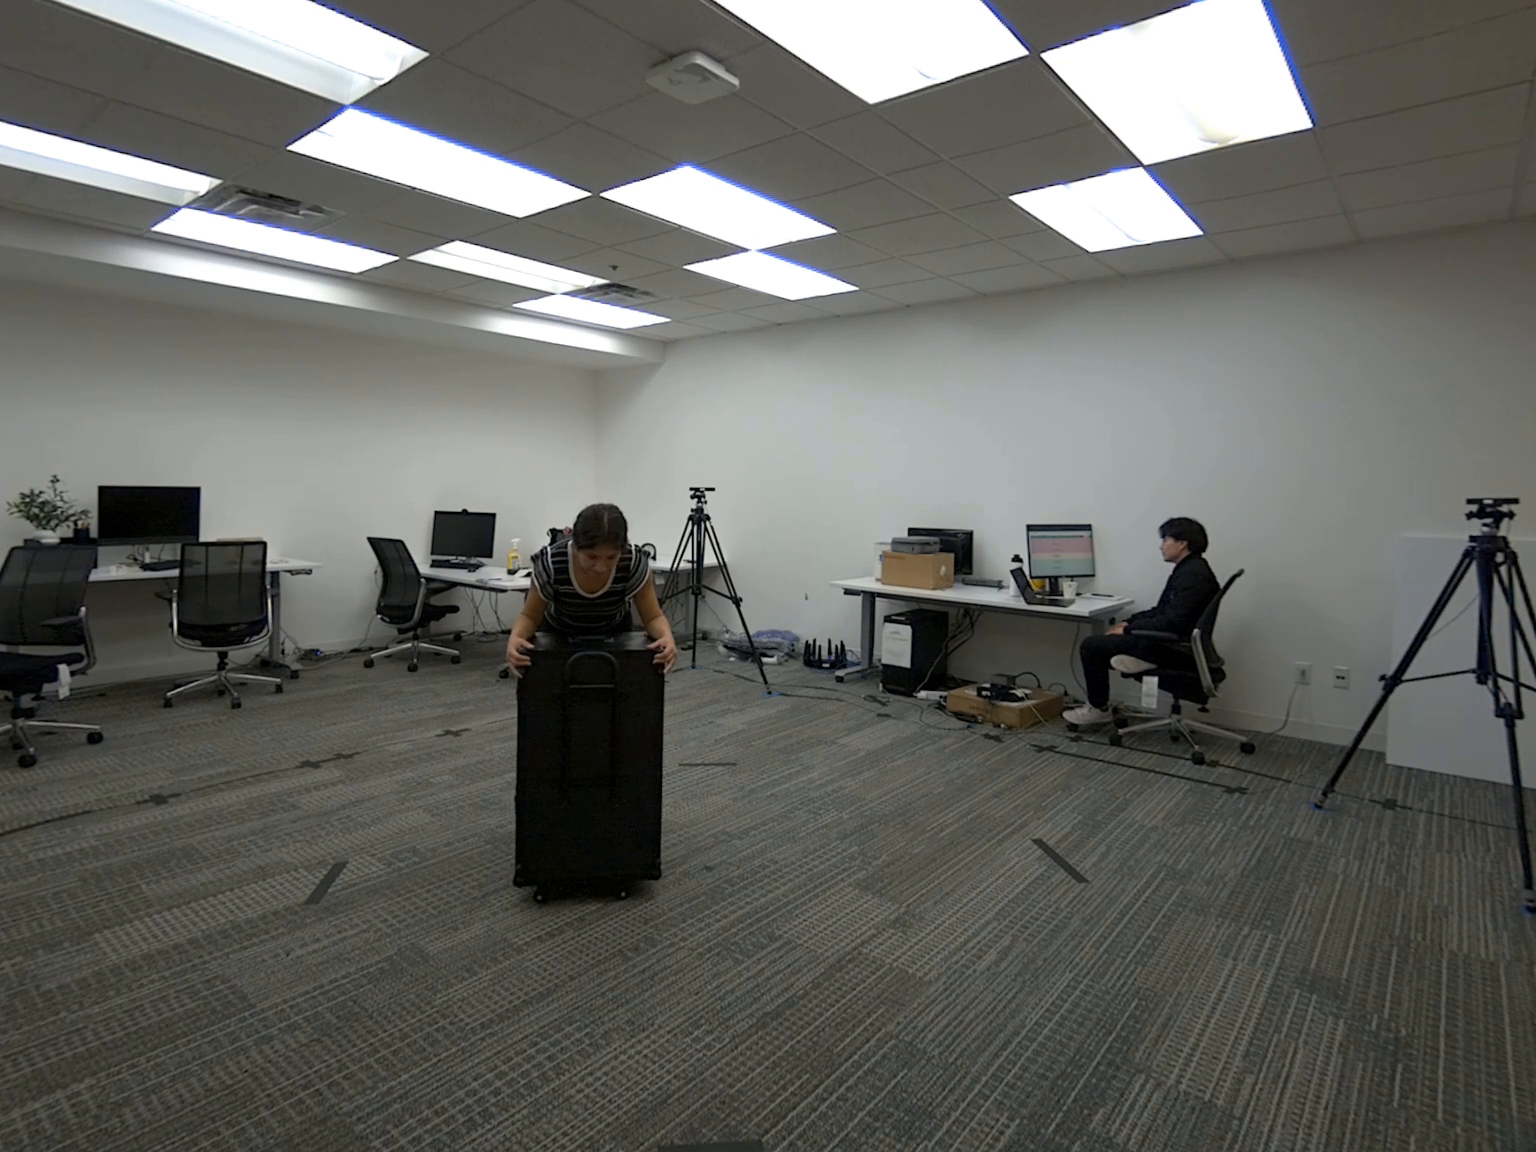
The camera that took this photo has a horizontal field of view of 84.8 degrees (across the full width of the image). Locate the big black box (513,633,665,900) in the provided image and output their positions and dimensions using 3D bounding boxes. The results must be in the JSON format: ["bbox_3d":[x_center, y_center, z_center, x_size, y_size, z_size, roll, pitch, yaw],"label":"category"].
[{"bbox_3d":[-0.628,0.654,2.957,0.515,0.859,0.402,2,4,-11],"label":"big black box"}]
